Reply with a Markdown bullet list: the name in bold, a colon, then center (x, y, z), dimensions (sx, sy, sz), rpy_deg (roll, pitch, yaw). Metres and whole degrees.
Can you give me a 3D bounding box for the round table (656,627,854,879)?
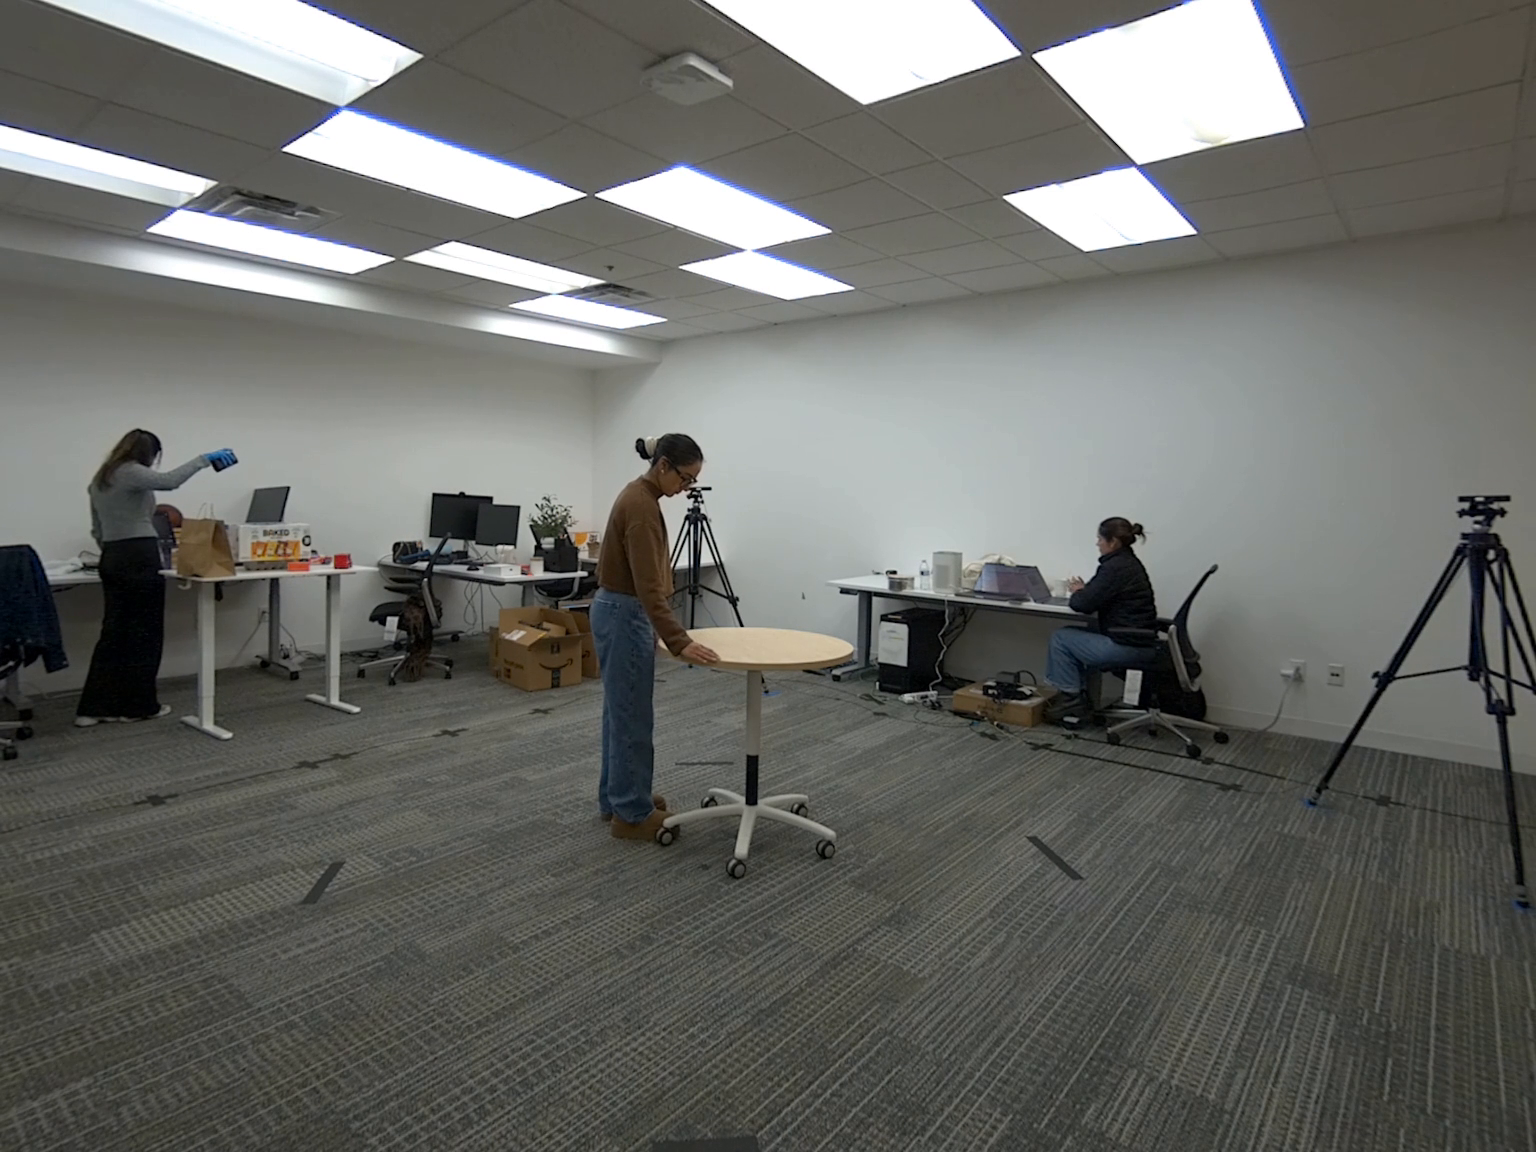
- **round table**: center (-0.064, 0.658, 3.367), dimensions (0.763, 0.792, 0.768), rpy_deg (1, 4, -2)
